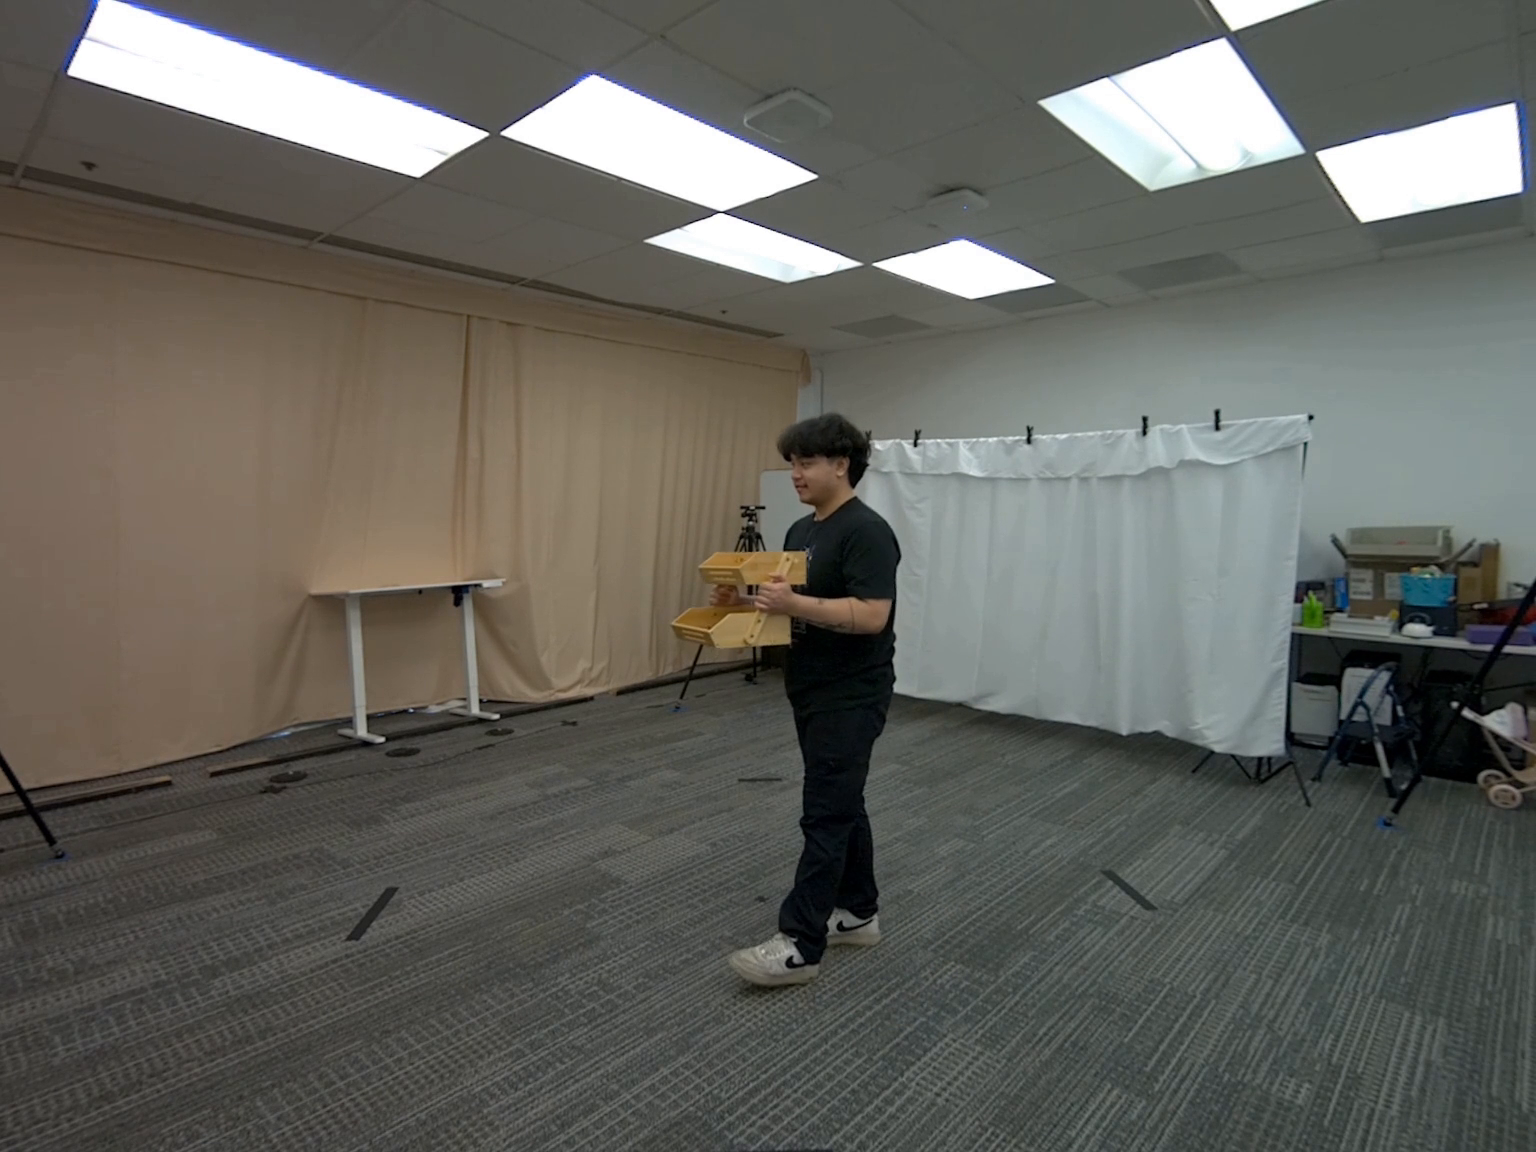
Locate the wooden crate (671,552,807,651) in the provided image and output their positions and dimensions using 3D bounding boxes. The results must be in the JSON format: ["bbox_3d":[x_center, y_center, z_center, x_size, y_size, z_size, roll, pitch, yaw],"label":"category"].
[{"bbox_3d":[-0.097,0.056,2.470,0.295,0.273,0.332,0,0,-25],"label":"wooden crate"}]
